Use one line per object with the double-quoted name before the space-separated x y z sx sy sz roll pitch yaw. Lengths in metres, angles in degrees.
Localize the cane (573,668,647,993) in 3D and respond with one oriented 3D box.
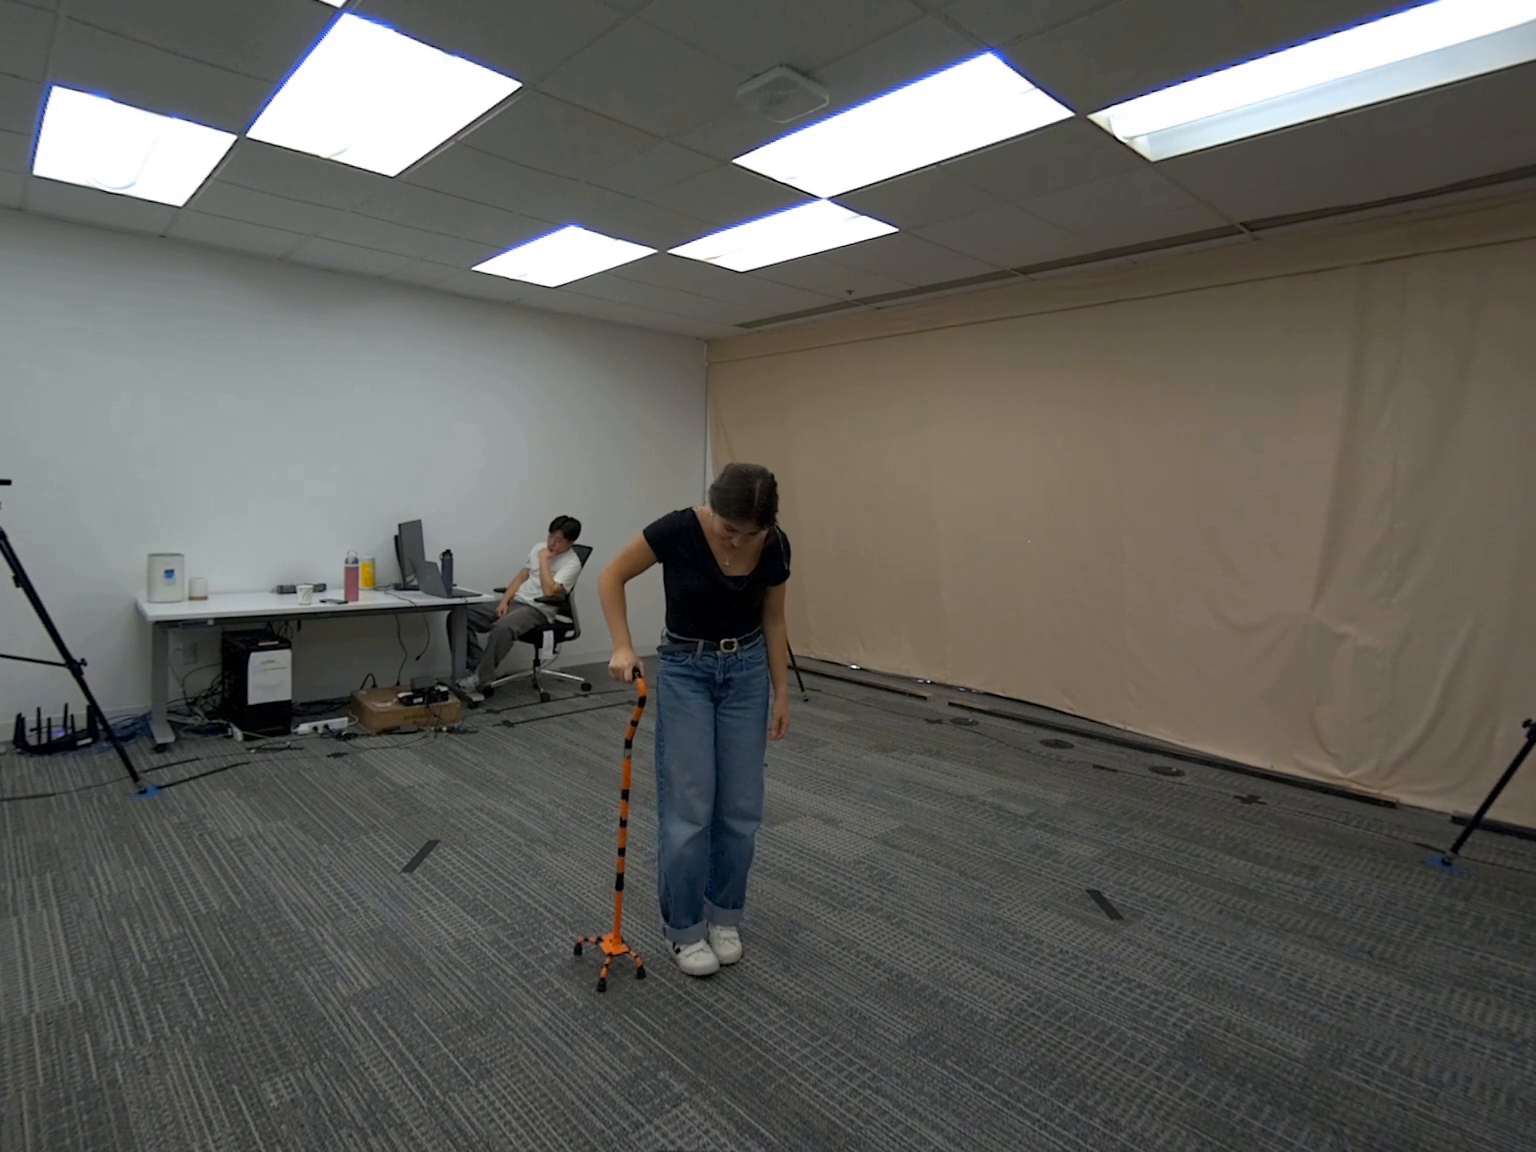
"cane" -0.433 0.707 2.404 0.148 0.902 0.212 -1 12 -37
